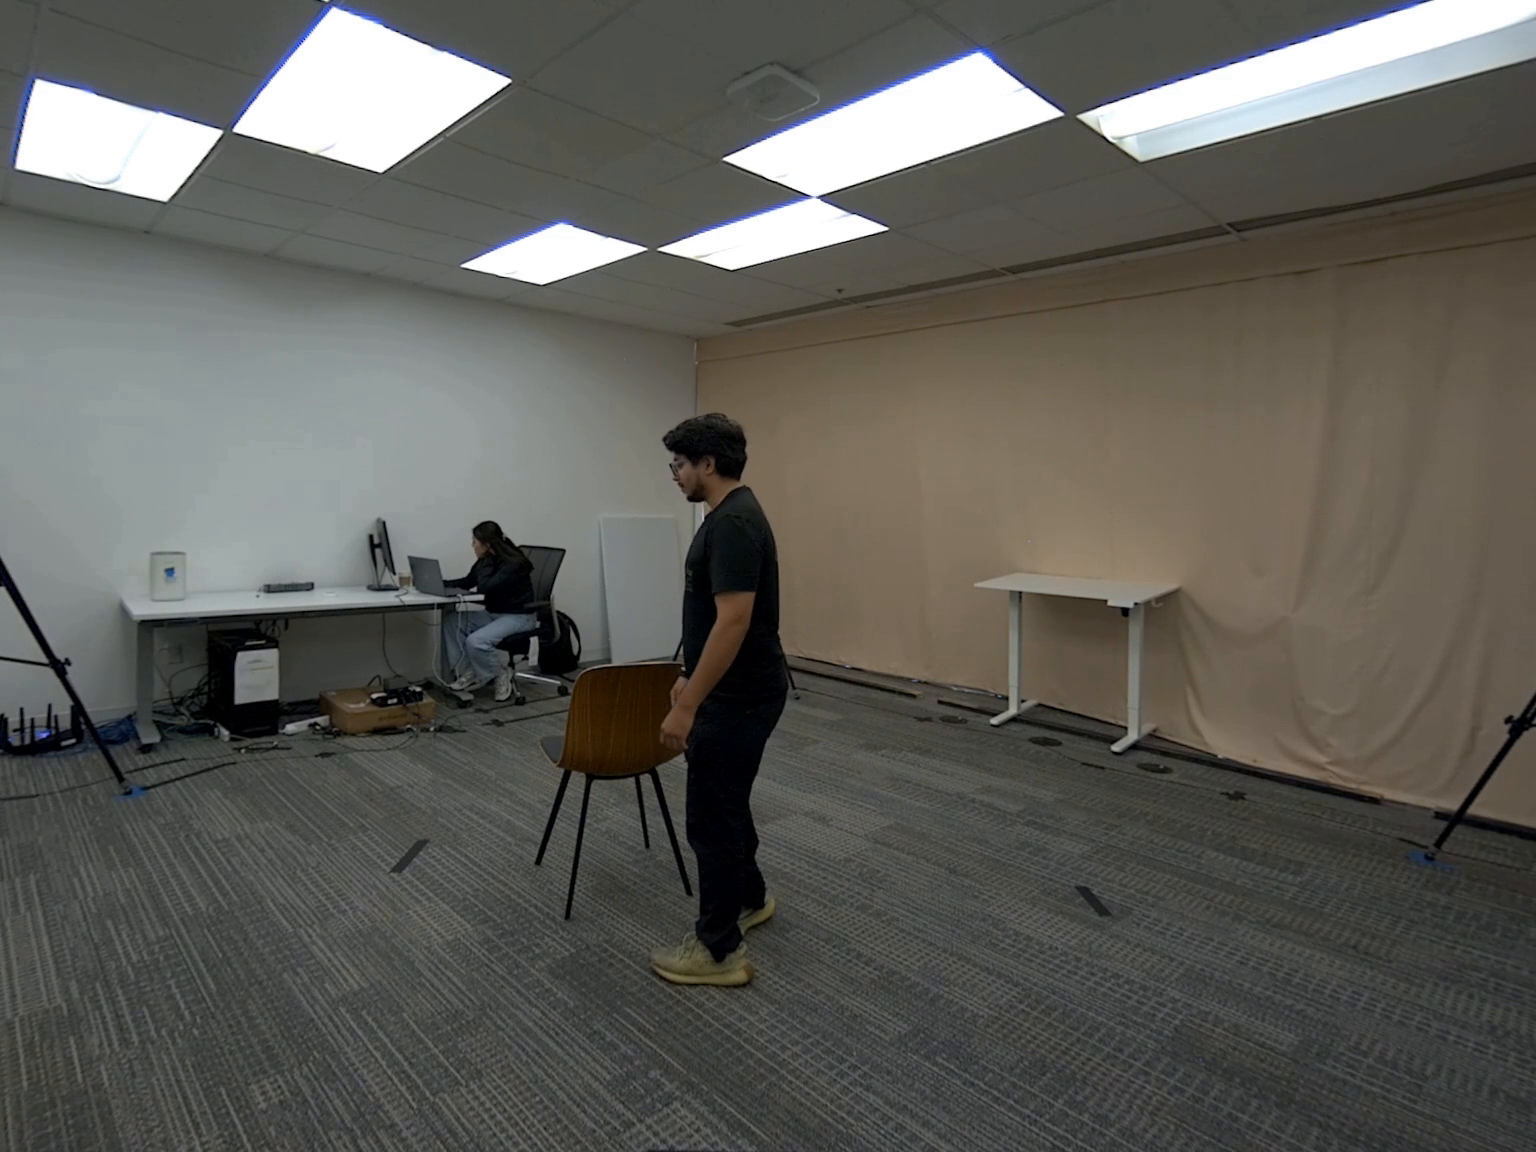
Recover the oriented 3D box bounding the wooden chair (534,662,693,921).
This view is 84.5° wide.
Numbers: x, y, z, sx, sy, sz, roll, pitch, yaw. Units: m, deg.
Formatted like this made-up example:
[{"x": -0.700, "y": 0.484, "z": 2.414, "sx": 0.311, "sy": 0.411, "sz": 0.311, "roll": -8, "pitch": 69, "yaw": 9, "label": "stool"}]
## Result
[{"x": -0.563, "y": 0.675, "z": 3.020, "sx": 0.469, "sy": 0.873, "sz": 0.536, "roll": -1, "pitch": 8, "yaw": -27, "label": "wooden chair"}]
